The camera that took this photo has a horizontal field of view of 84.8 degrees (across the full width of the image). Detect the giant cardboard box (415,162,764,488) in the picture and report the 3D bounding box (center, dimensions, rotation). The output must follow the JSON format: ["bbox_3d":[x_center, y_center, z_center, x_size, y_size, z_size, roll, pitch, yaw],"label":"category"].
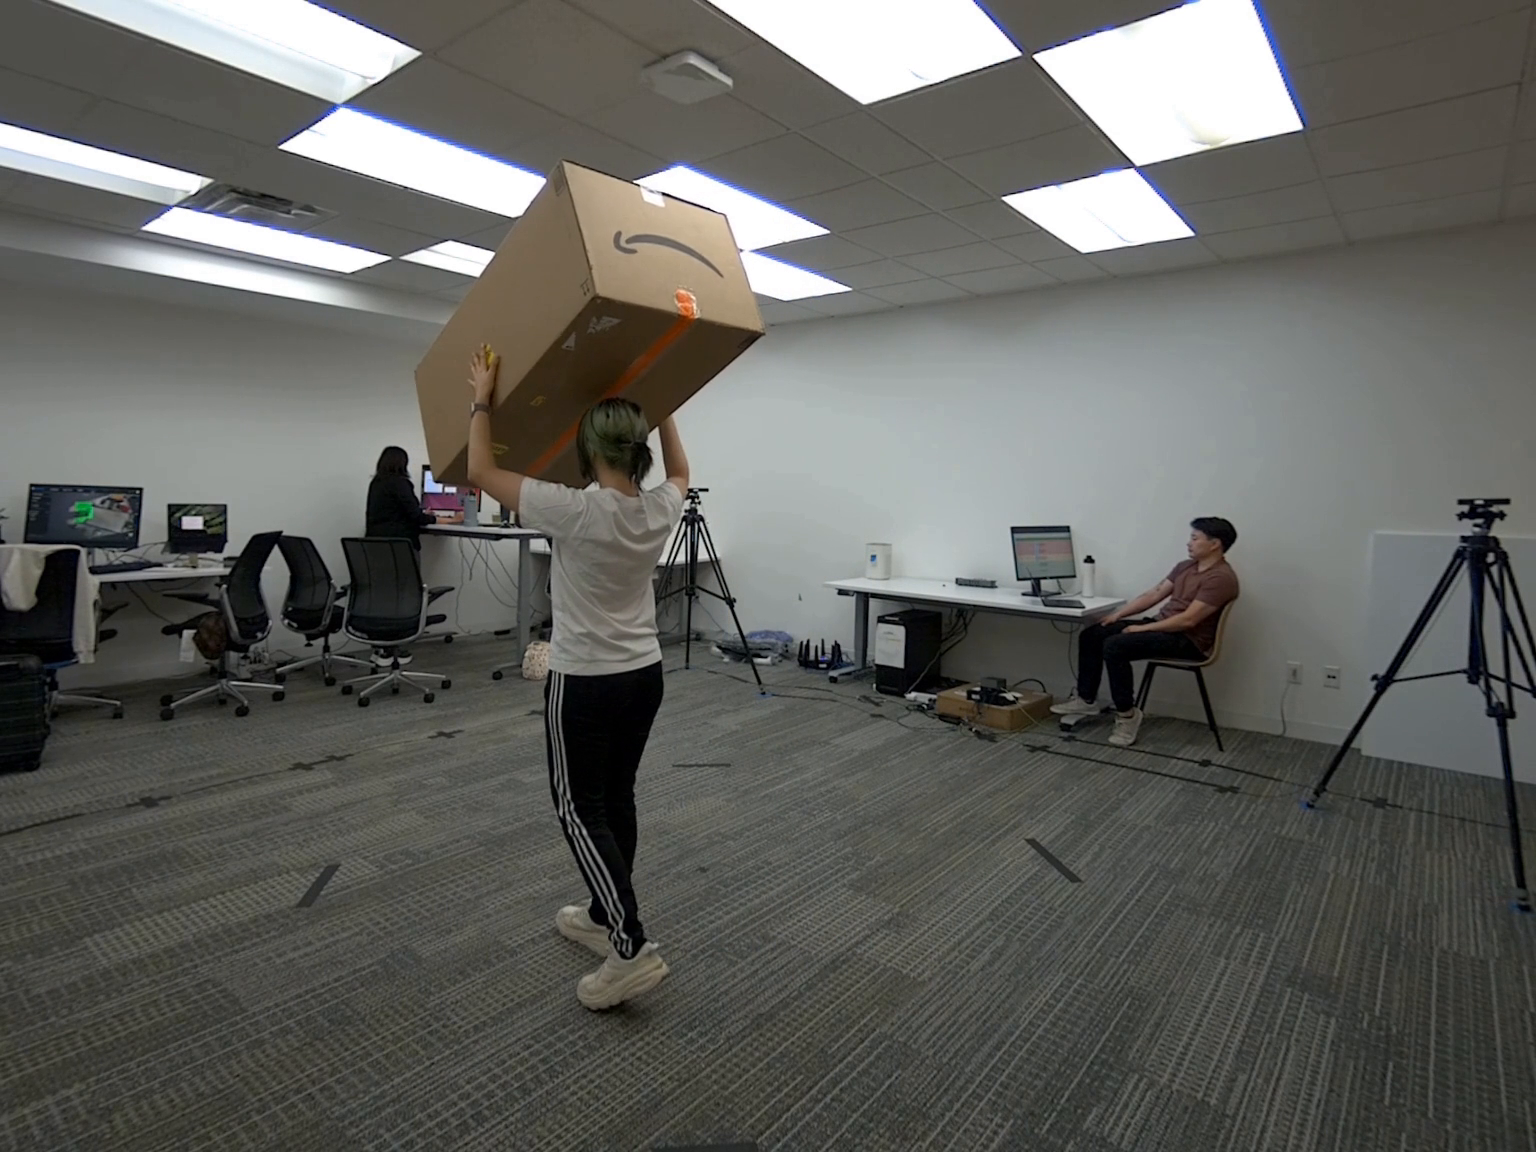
[{"bbox_3d":[-0.604,-0.679,2.621,0.566,0.456,1.039,-2,-21,-44],"label":"giant cardboard box"}]
